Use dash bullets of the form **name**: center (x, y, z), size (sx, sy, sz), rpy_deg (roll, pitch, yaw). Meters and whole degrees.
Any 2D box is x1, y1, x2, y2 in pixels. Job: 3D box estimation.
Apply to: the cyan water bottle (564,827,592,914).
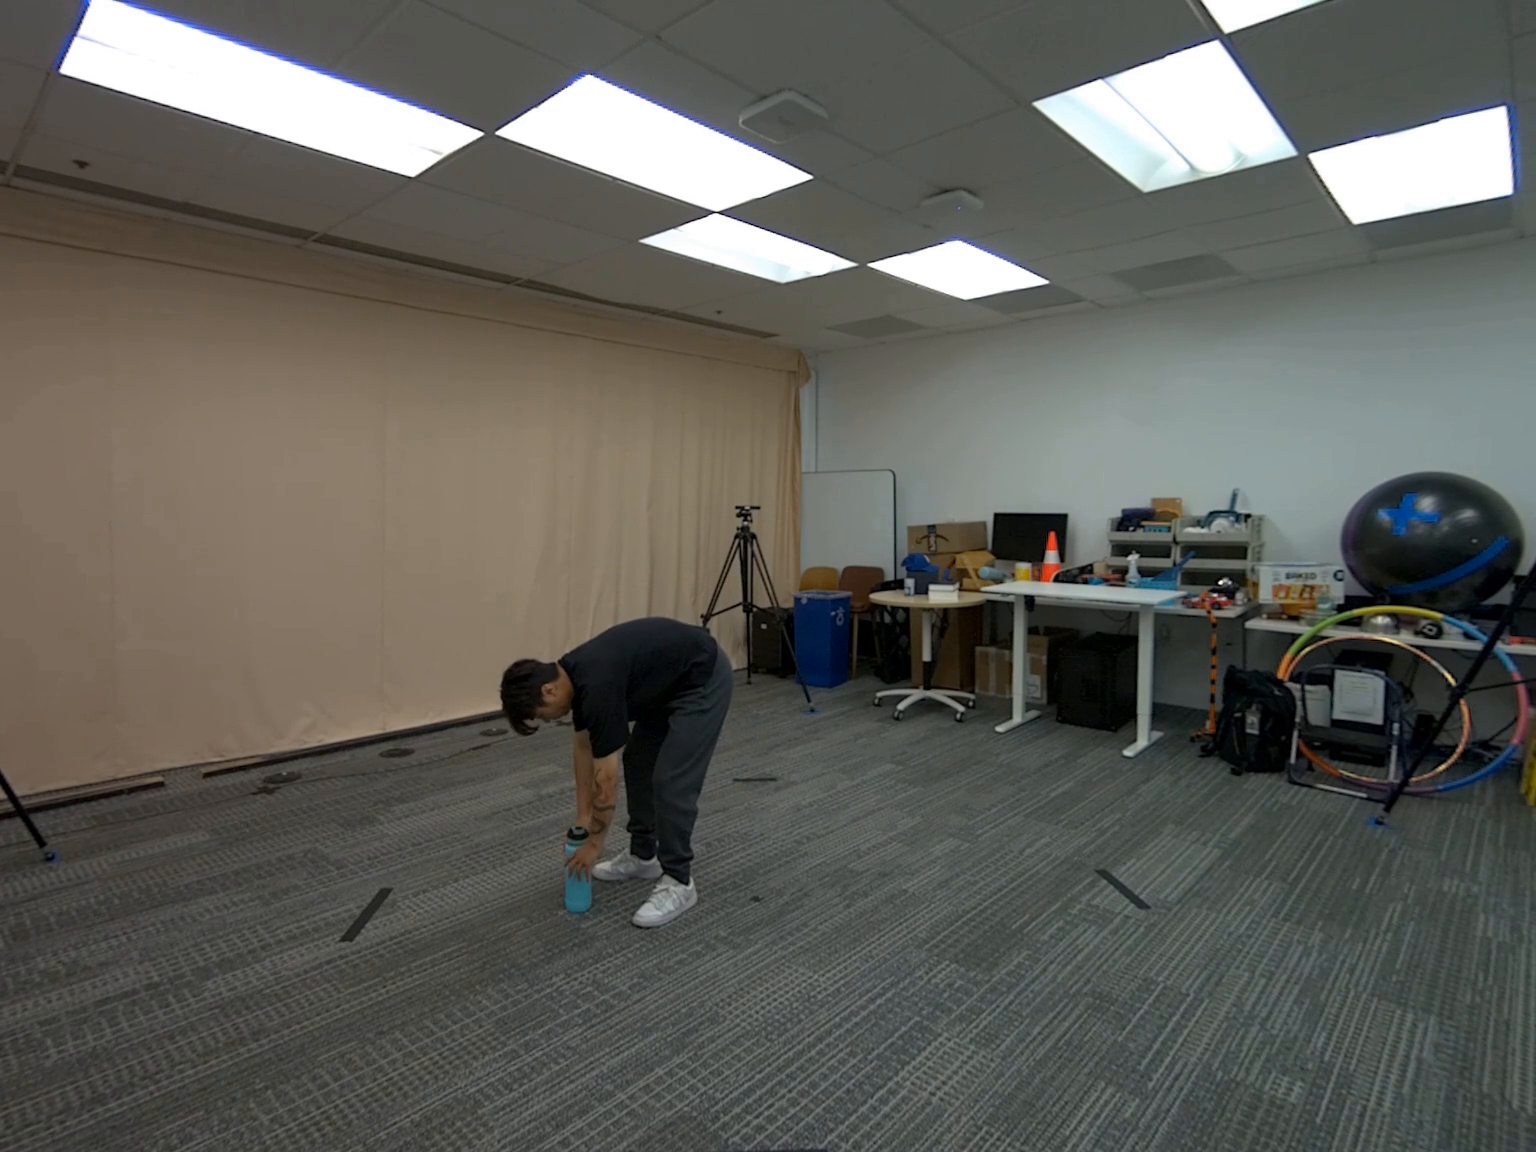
- **cyan water bottle**: center (-0.659, 1.015, 2.937), size (0.092, 0.283, 0.092), rpy_deg (0, 0, -2)
